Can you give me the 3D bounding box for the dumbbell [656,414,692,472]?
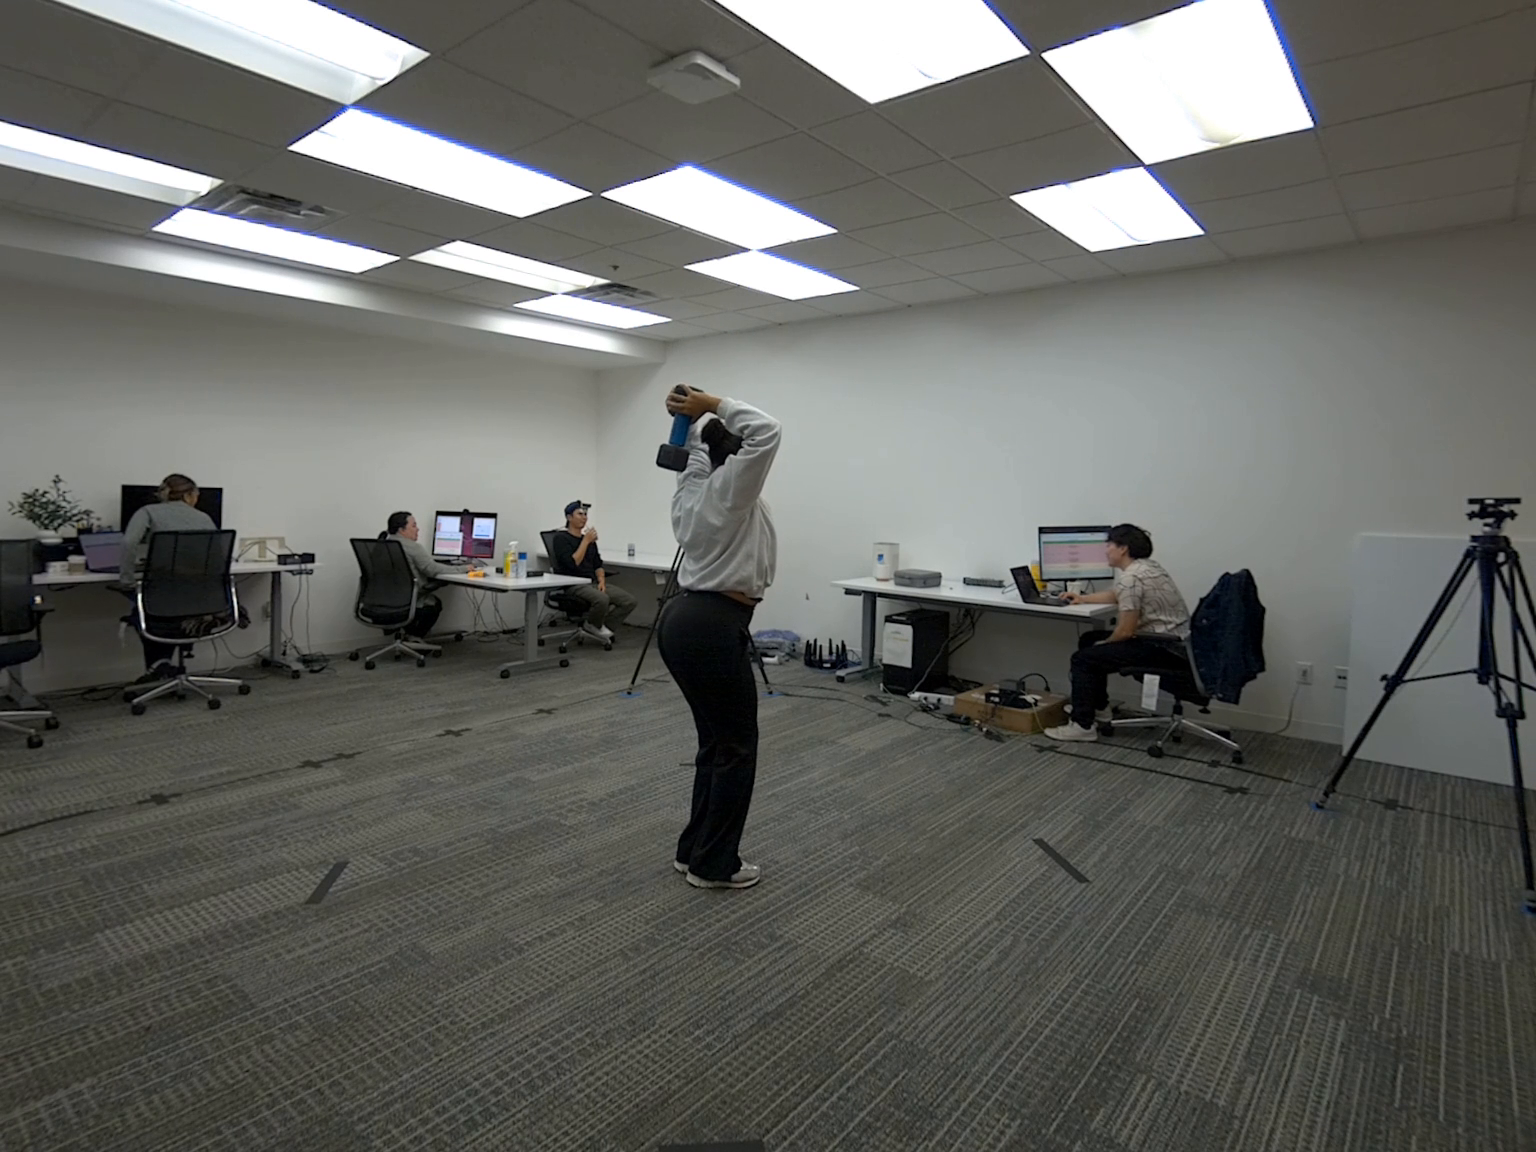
[{"bbox_3d":[-0.318,-0.527,2.966,0.126,0.294,0.106,14,0,21],"label":"dumbbell"}]
